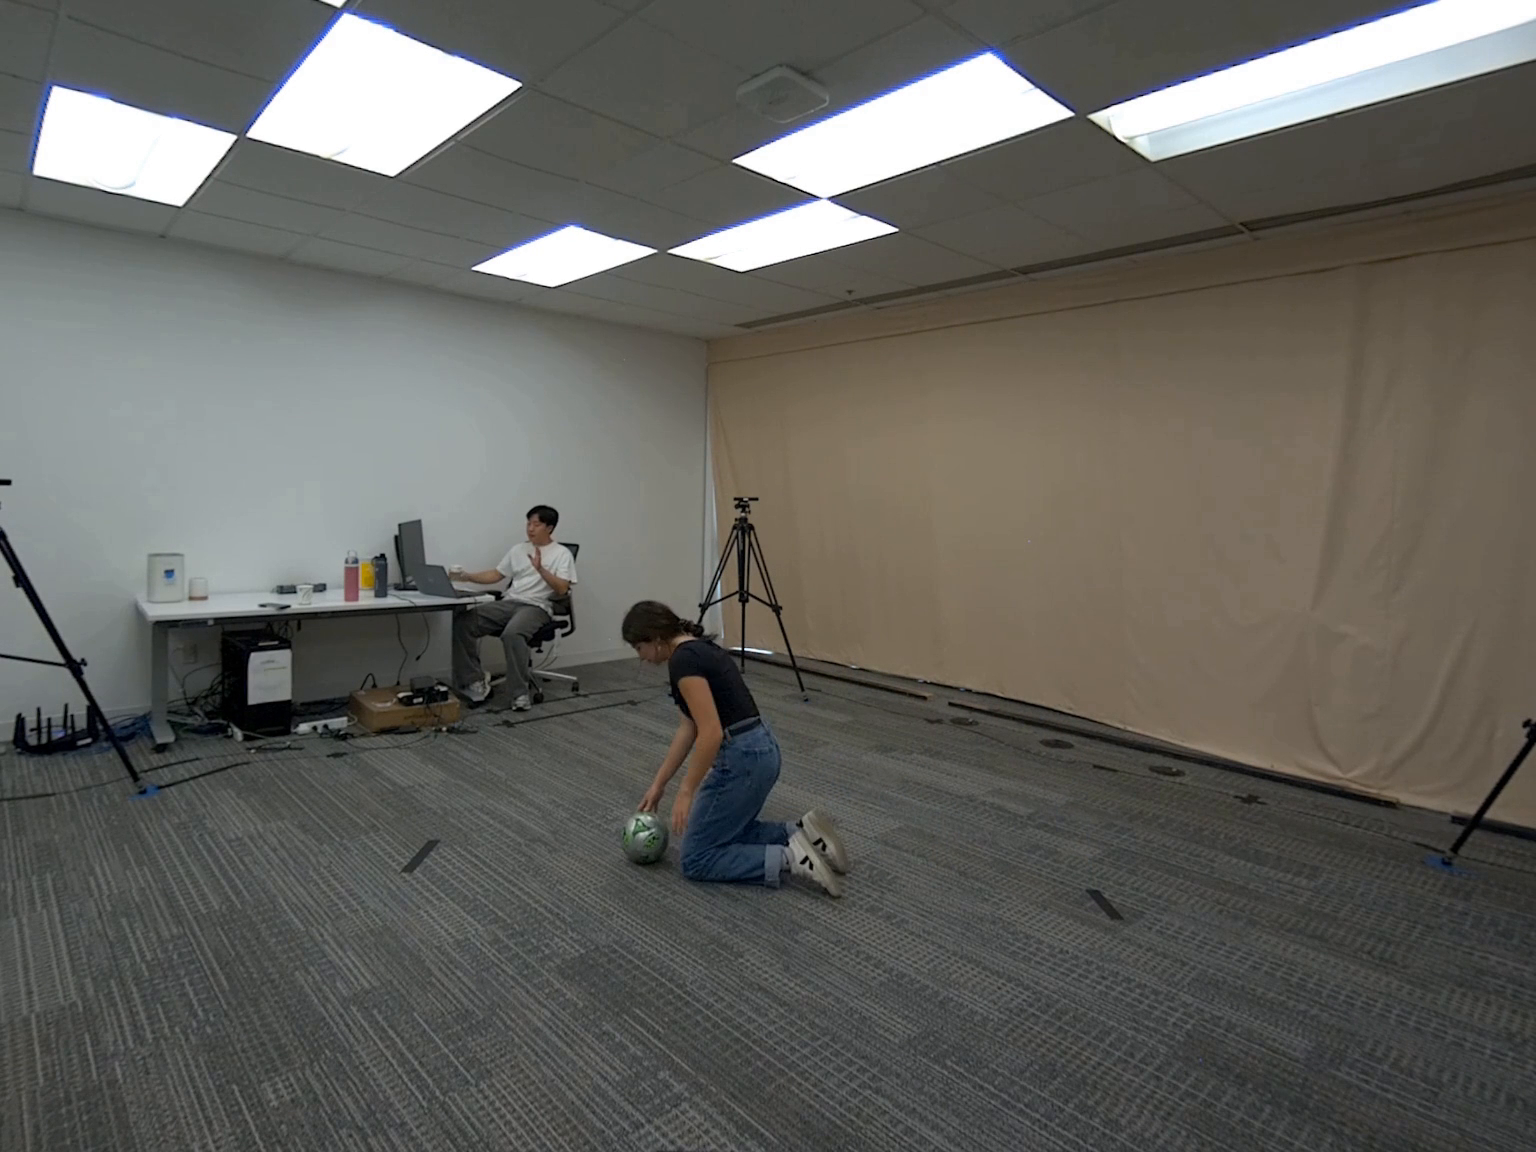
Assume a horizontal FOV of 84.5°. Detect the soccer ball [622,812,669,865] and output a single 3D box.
[{"bbox_3d":[-0.470,0.992,3.214,0.187,0.187,0.188,1,4,-1],"label":"soccer ball"}]
